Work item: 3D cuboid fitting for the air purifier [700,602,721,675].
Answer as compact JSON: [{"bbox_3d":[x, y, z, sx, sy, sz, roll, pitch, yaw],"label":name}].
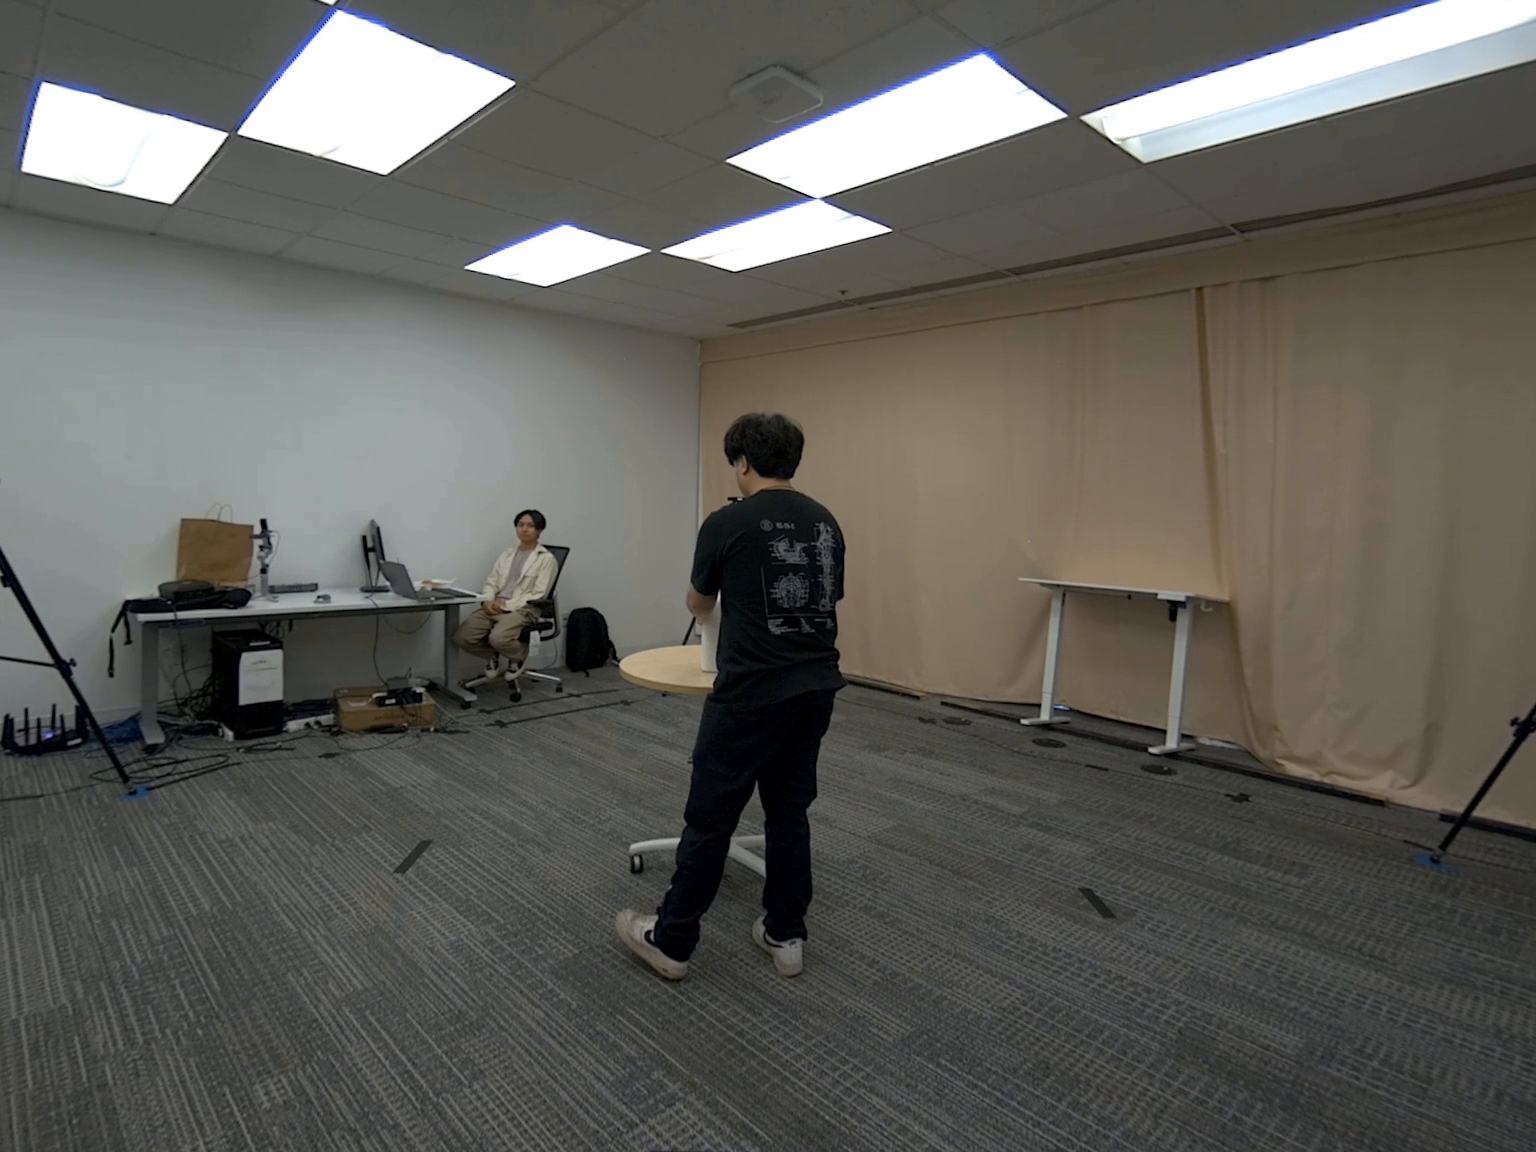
[{"bbox_3d":[-0.152,0.200,2.959,0.171,0.265,0.171,1,2,2],"label":"air purifier"}]
